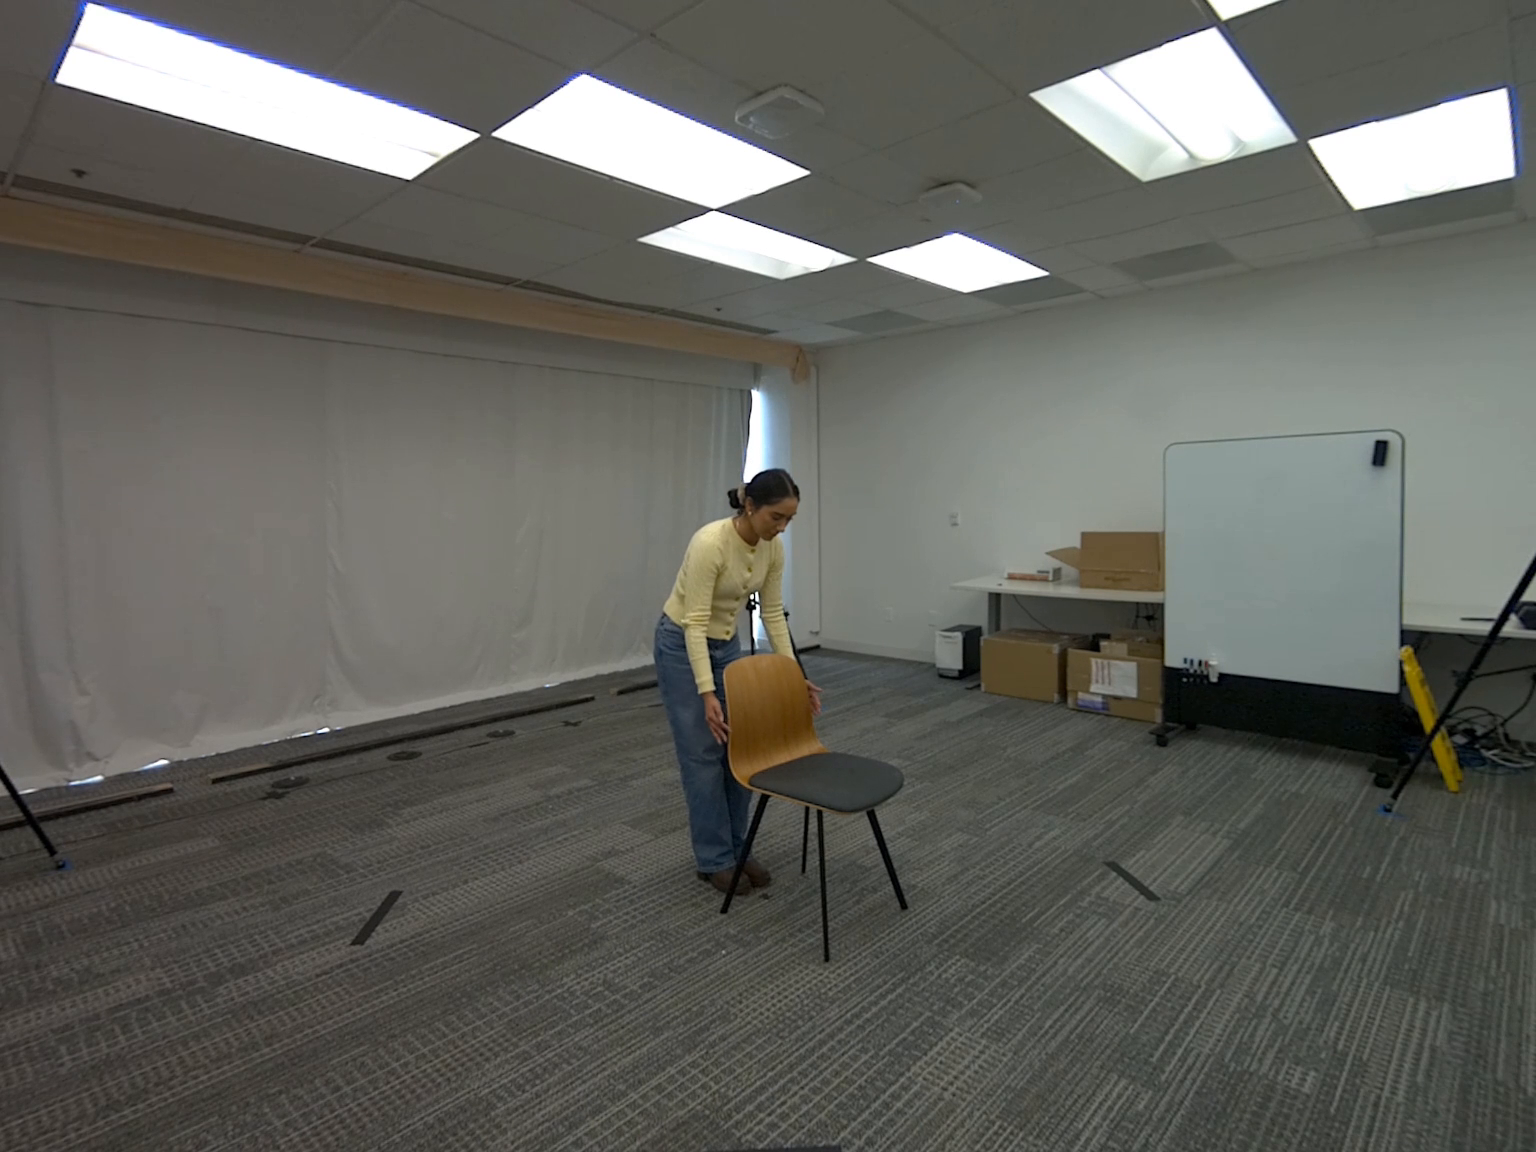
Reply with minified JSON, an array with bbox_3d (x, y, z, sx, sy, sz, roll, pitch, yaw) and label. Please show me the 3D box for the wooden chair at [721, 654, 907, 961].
[{"bbox_3d":[0.162,0.717,2.827,0.539,0.877,0.463,-4,0,43],"label":"wooden chair"}]
